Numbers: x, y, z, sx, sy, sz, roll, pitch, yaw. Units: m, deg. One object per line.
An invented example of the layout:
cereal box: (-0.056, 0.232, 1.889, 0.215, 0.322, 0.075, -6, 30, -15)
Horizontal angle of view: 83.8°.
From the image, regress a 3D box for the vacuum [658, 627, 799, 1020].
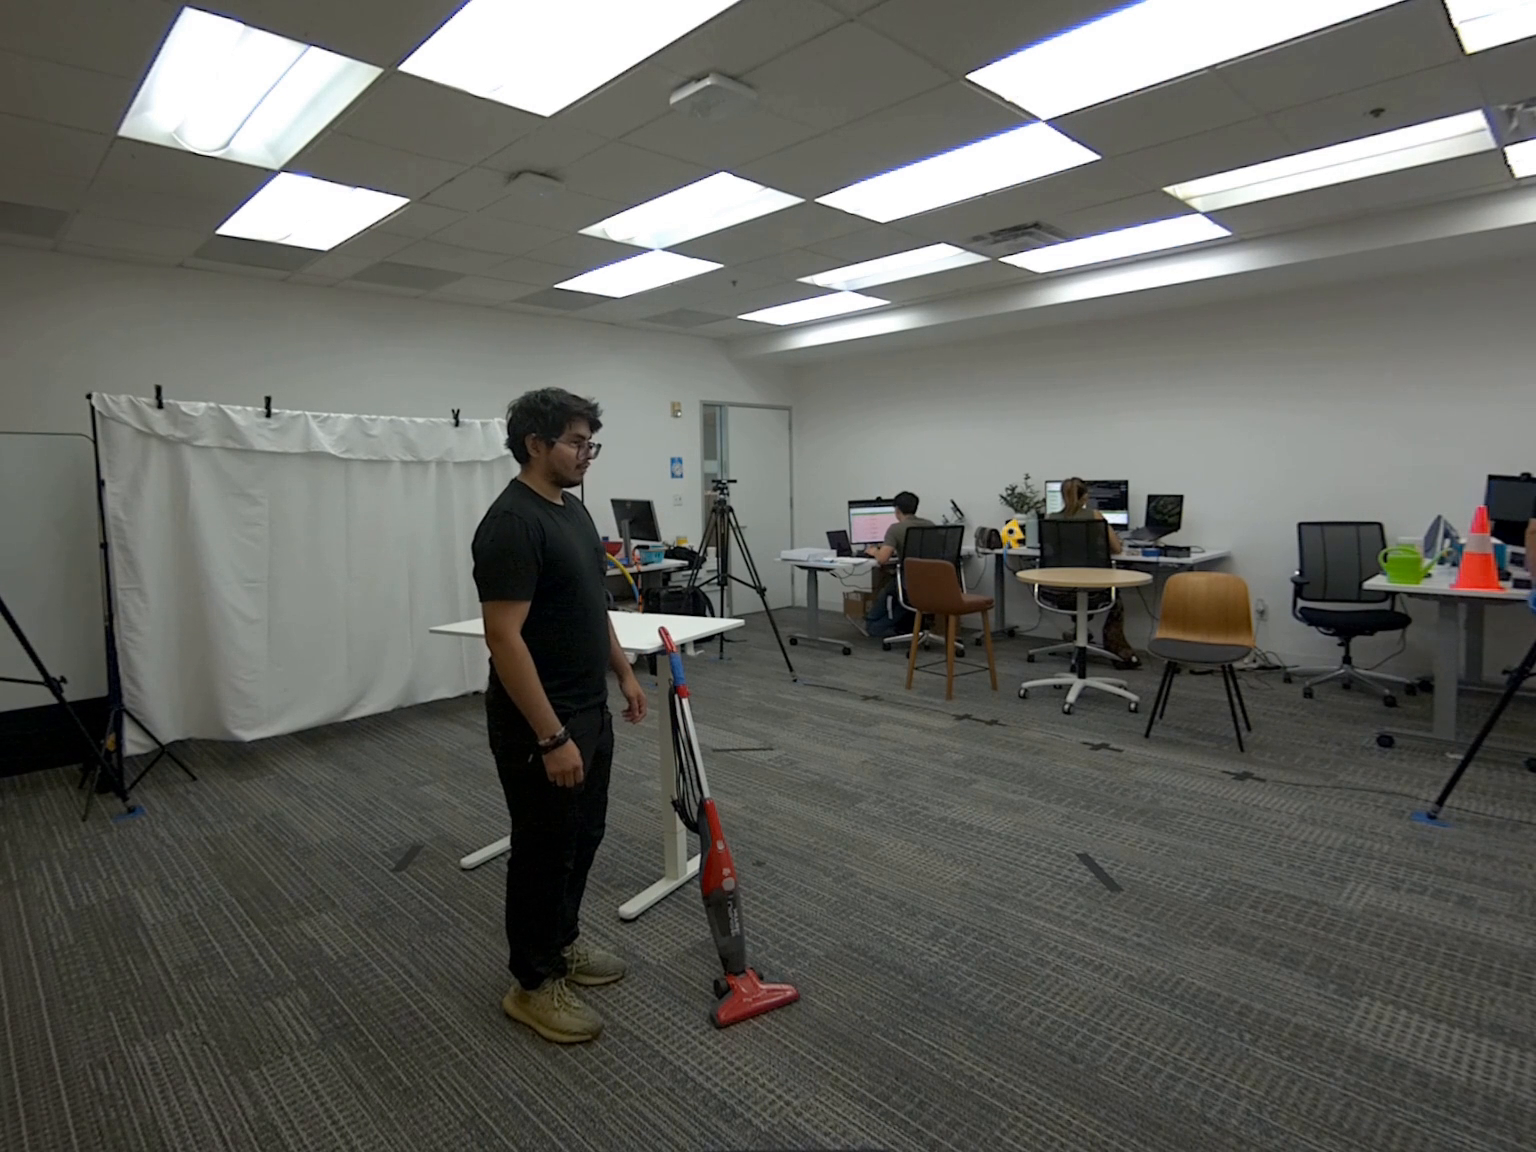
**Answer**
vacuum: (-0.192, 0.648, 2.499, 0.245, 1.074, 0.145, 1, -27, -37)
